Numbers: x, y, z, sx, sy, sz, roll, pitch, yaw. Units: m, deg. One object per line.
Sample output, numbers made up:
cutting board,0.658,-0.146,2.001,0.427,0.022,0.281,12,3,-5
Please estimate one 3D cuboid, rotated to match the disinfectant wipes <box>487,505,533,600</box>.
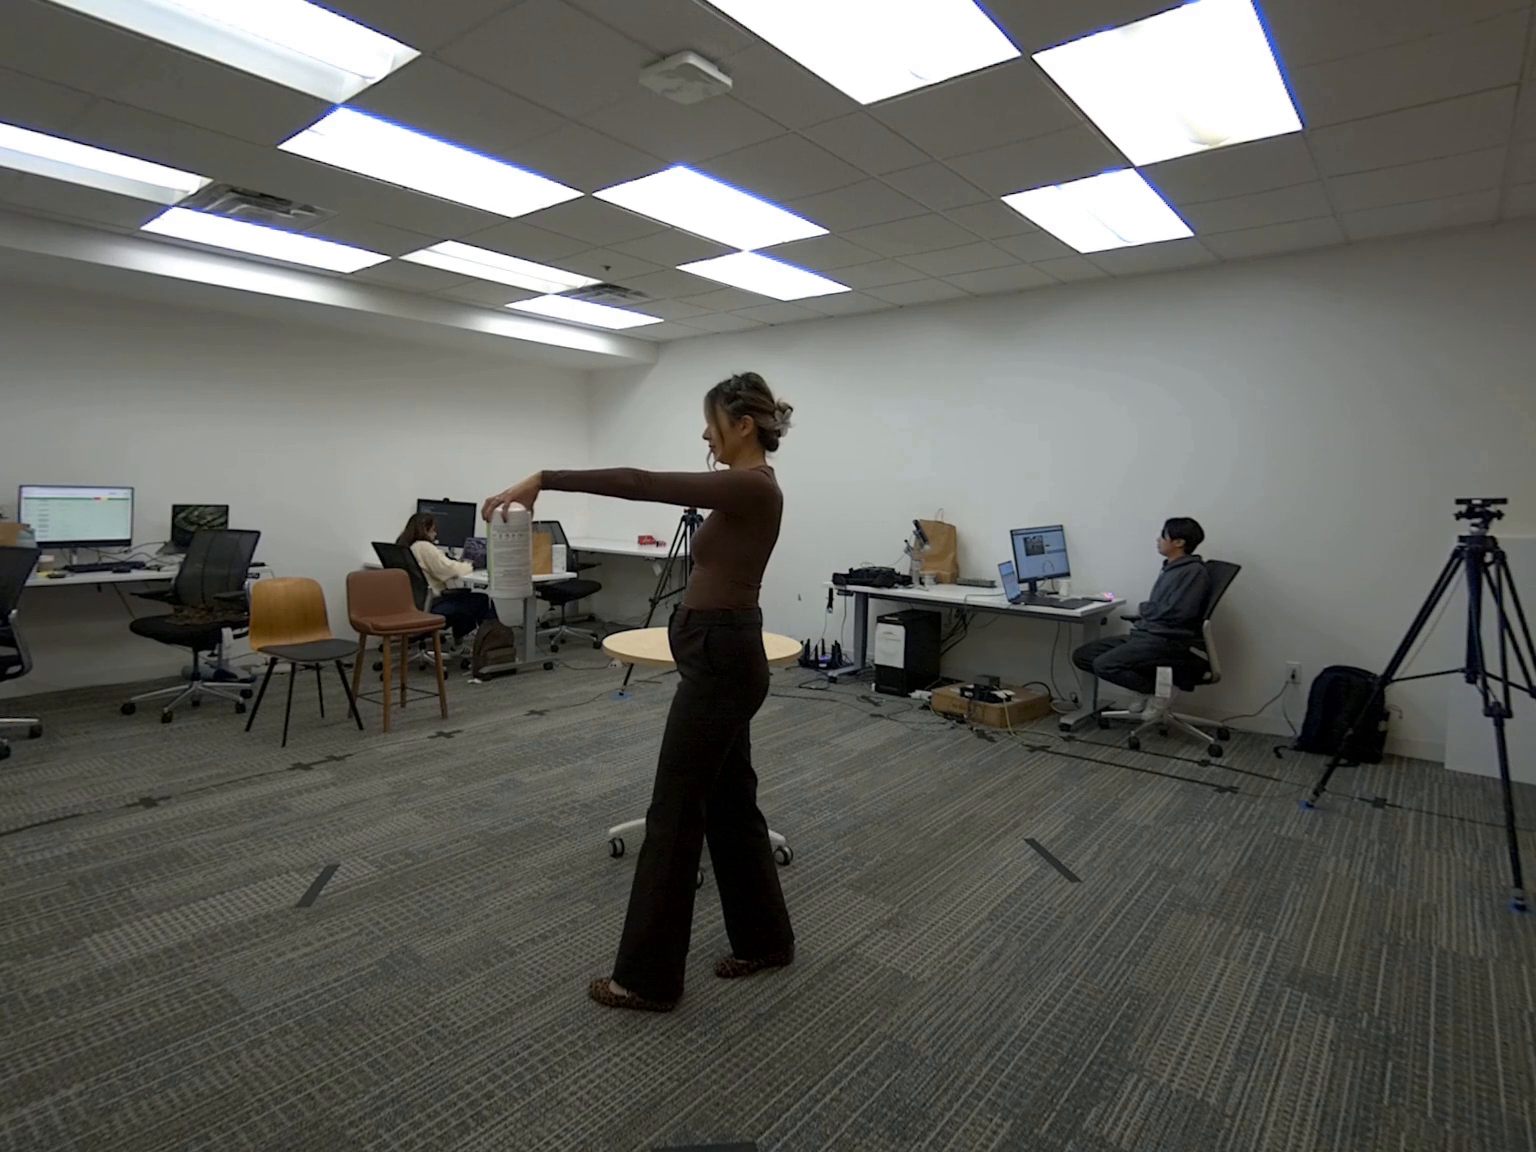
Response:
disinfectant wipes,-0.647,-0.060,2.113,0.118,0.216,0.118,0,5,-2
